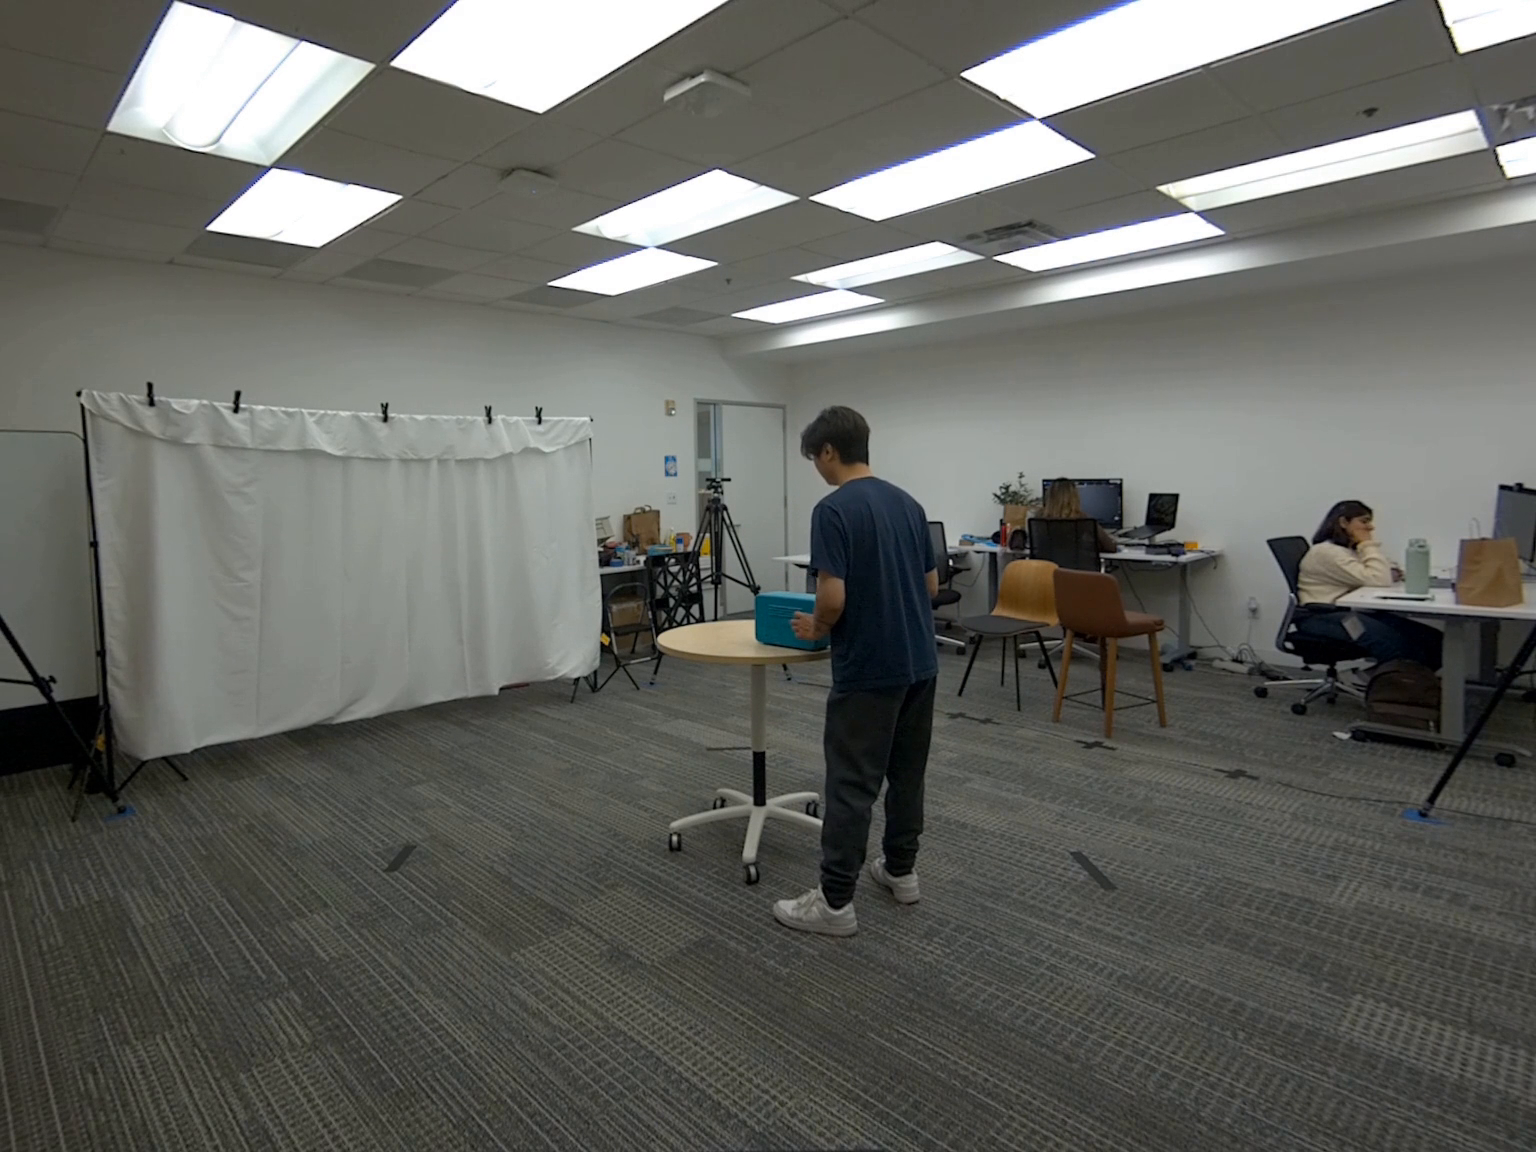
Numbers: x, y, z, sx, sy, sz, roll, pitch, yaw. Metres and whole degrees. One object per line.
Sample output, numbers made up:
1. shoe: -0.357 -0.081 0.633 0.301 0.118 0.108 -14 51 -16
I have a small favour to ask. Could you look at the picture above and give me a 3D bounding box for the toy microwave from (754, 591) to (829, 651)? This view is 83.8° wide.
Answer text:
1. toy microwave: 0.102 0.158 3.070 0.295 0.183 0.148 4 6 40
